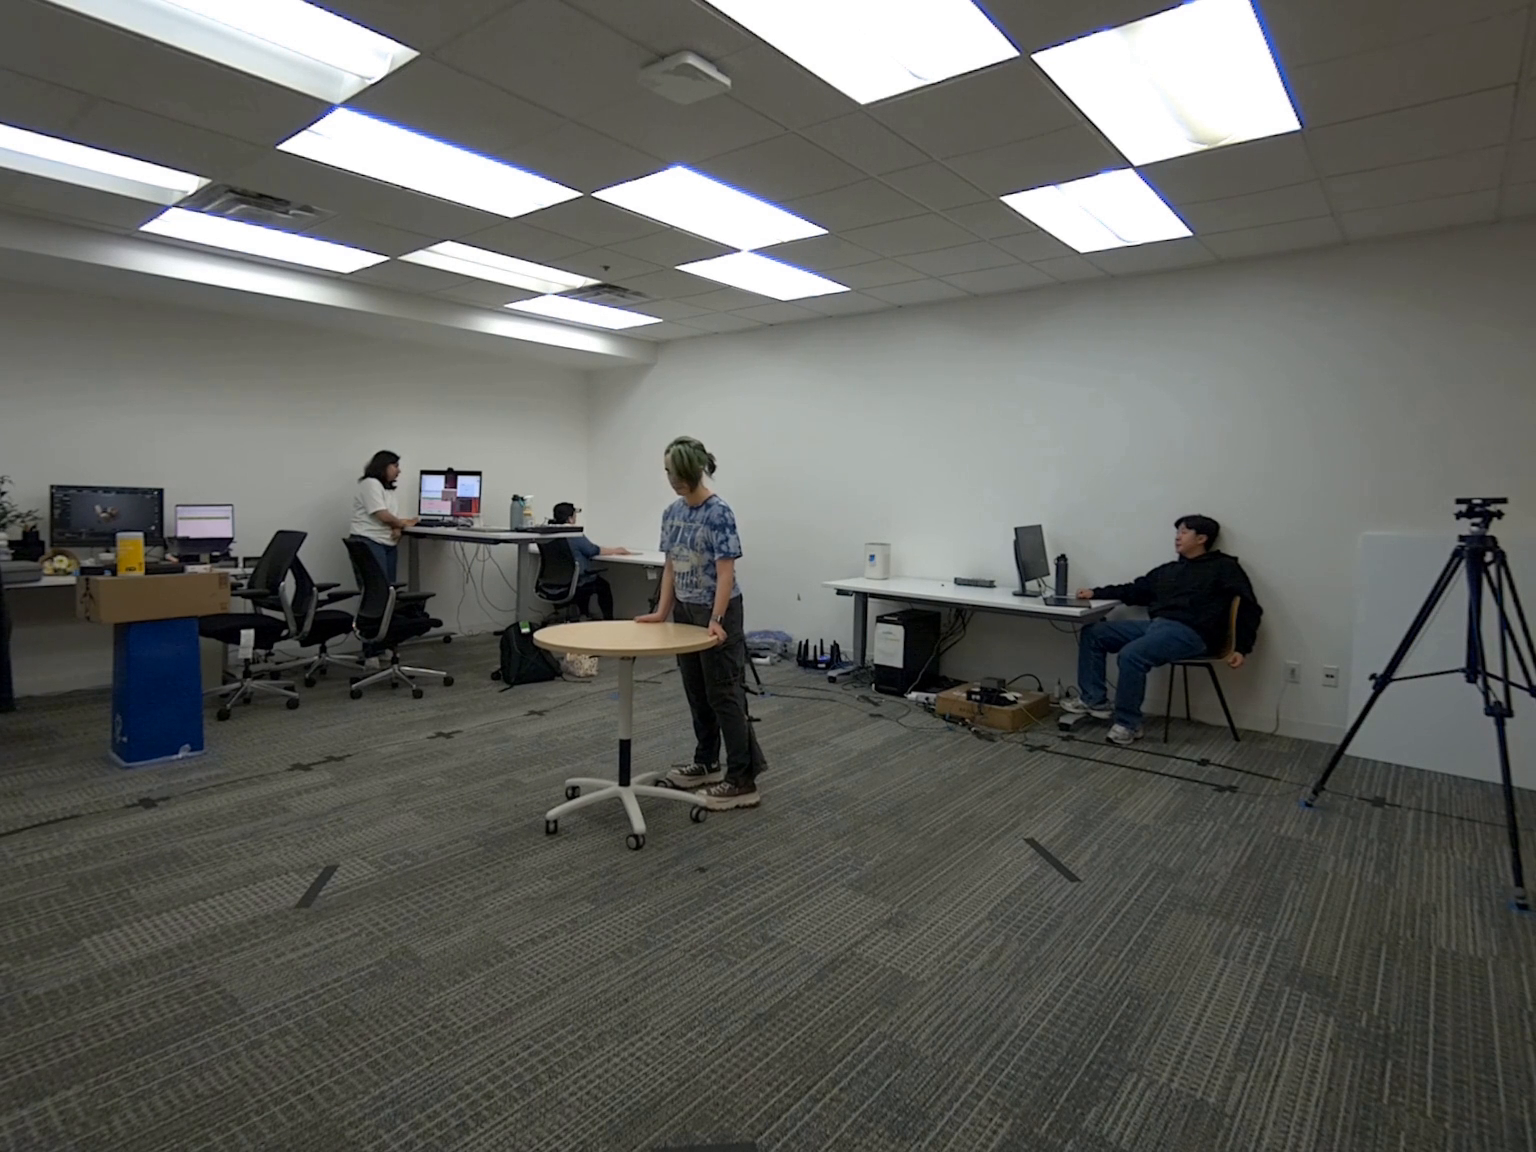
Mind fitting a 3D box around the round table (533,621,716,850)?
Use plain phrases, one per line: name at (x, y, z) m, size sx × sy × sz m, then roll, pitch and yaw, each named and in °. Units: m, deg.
round table at (-0.618, 0.632, 3.570) m, size 0.763 × 0.792 × 0.767 m, roll 1°, pitch 3°, yaw -2°
